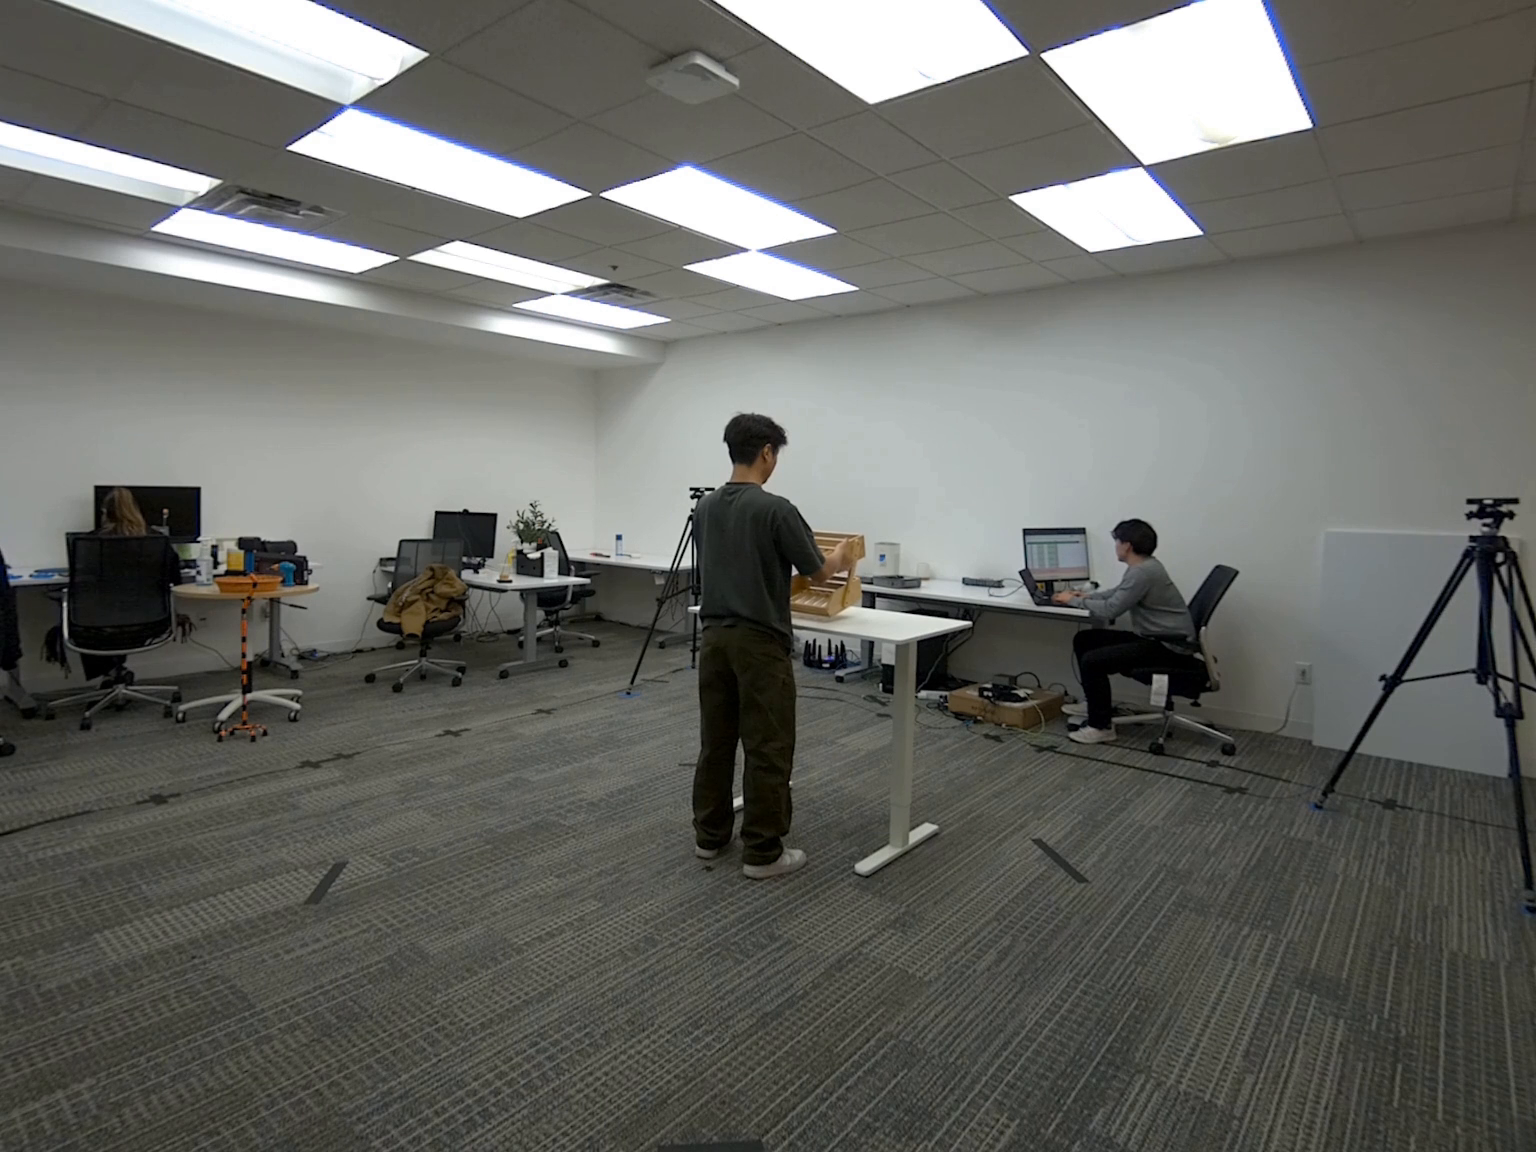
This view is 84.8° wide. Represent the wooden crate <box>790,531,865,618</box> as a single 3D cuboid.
[{"bbox_3d":[0.176,-0.023,3.440,0.335,0.269,0.296,6,18,40],"label":"wooden crate"}]
